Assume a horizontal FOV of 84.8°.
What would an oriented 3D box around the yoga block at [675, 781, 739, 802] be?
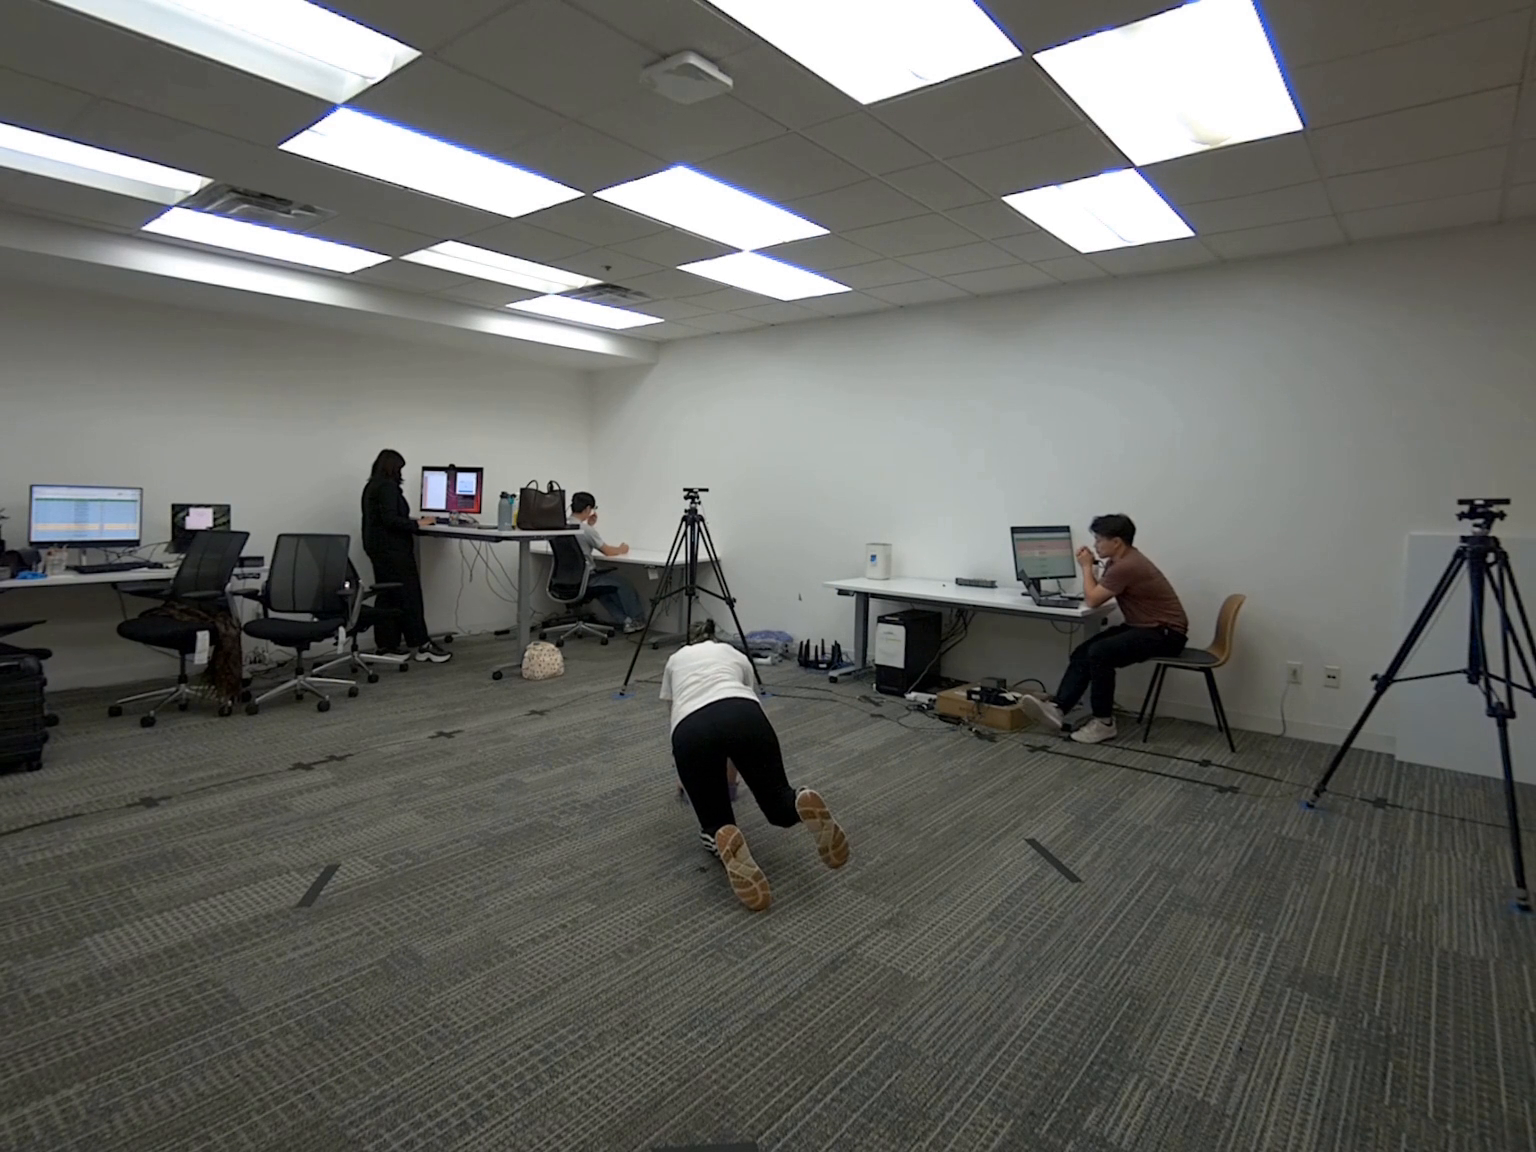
[{"bbox_3d":[-0.274,0.956,3.837,0.226,0.076,0.152,-1,5,-16],"label":"yoga block"}]
